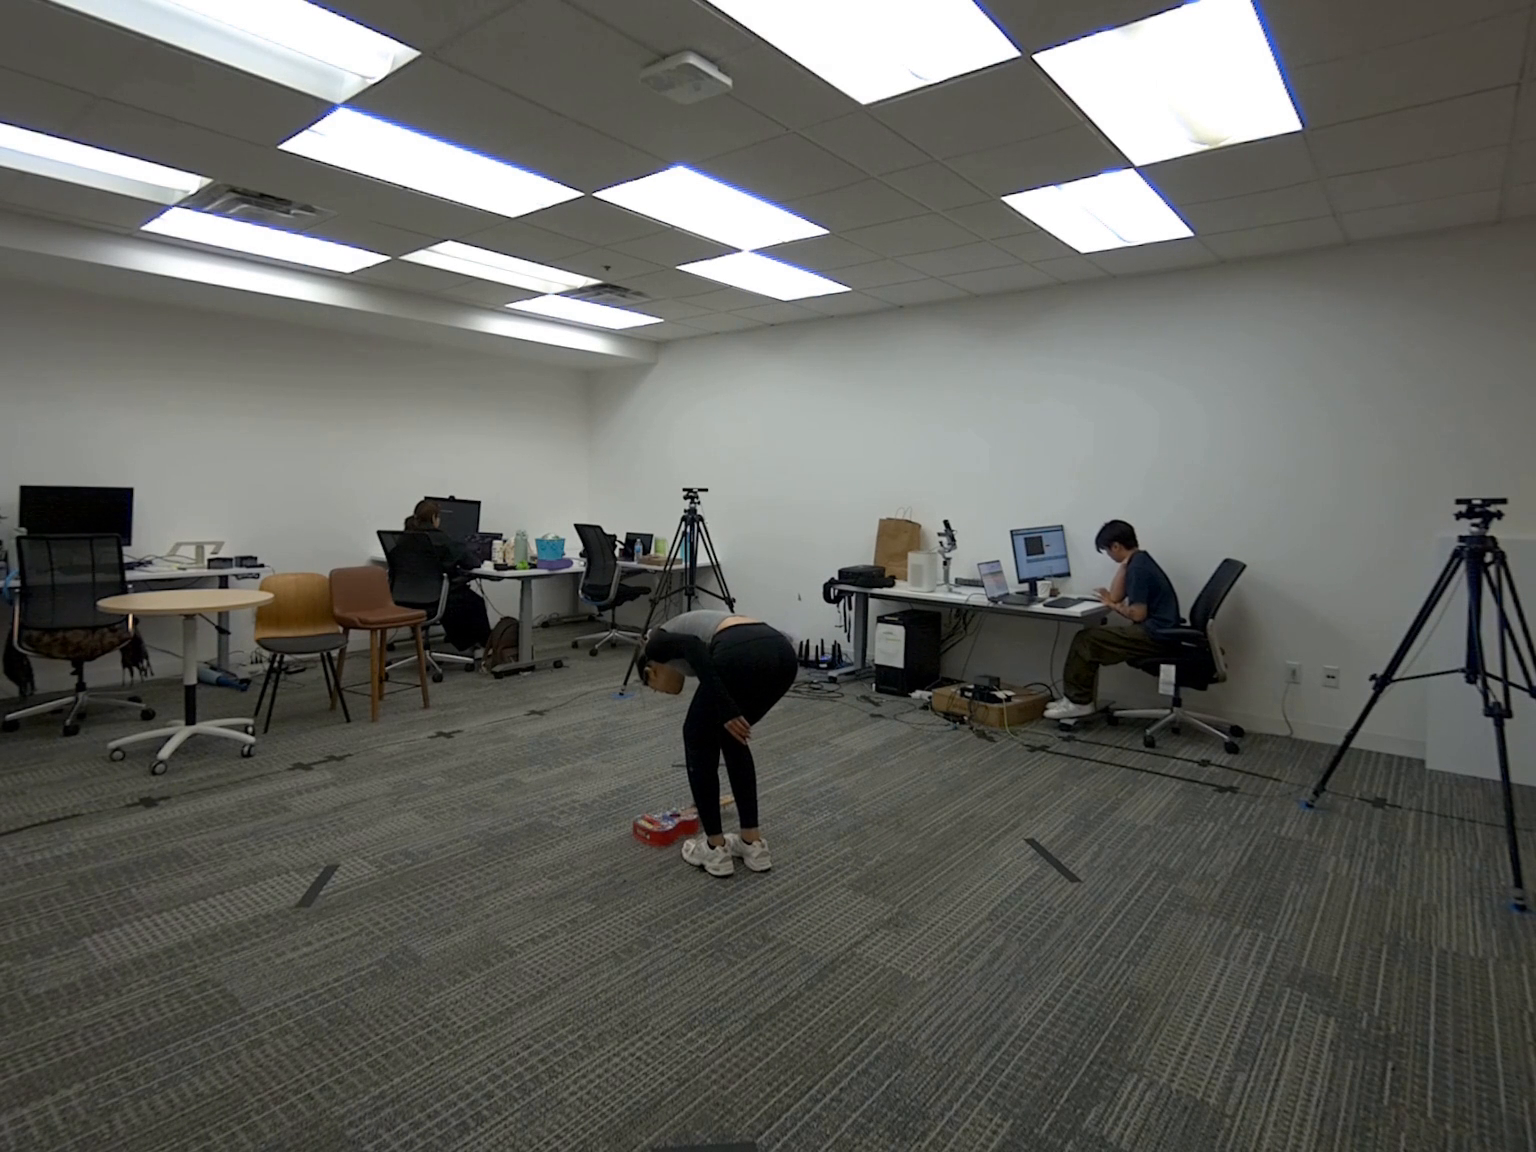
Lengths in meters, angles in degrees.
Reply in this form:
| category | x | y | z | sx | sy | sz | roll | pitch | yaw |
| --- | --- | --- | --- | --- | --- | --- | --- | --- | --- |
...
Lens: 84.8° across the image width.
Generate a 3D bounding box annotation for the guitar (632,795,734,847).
| category | x | y | z | sx | sy | sz | roll | pitch | yaw |
| --- | --- | --- | --- | --- | --- | --- | --- | --- | --- |
| guitar | -0.321 | 0.994 | 3.488 | 0.484 | 0.070 | 0.199 | -4 | 7 | -33 |
